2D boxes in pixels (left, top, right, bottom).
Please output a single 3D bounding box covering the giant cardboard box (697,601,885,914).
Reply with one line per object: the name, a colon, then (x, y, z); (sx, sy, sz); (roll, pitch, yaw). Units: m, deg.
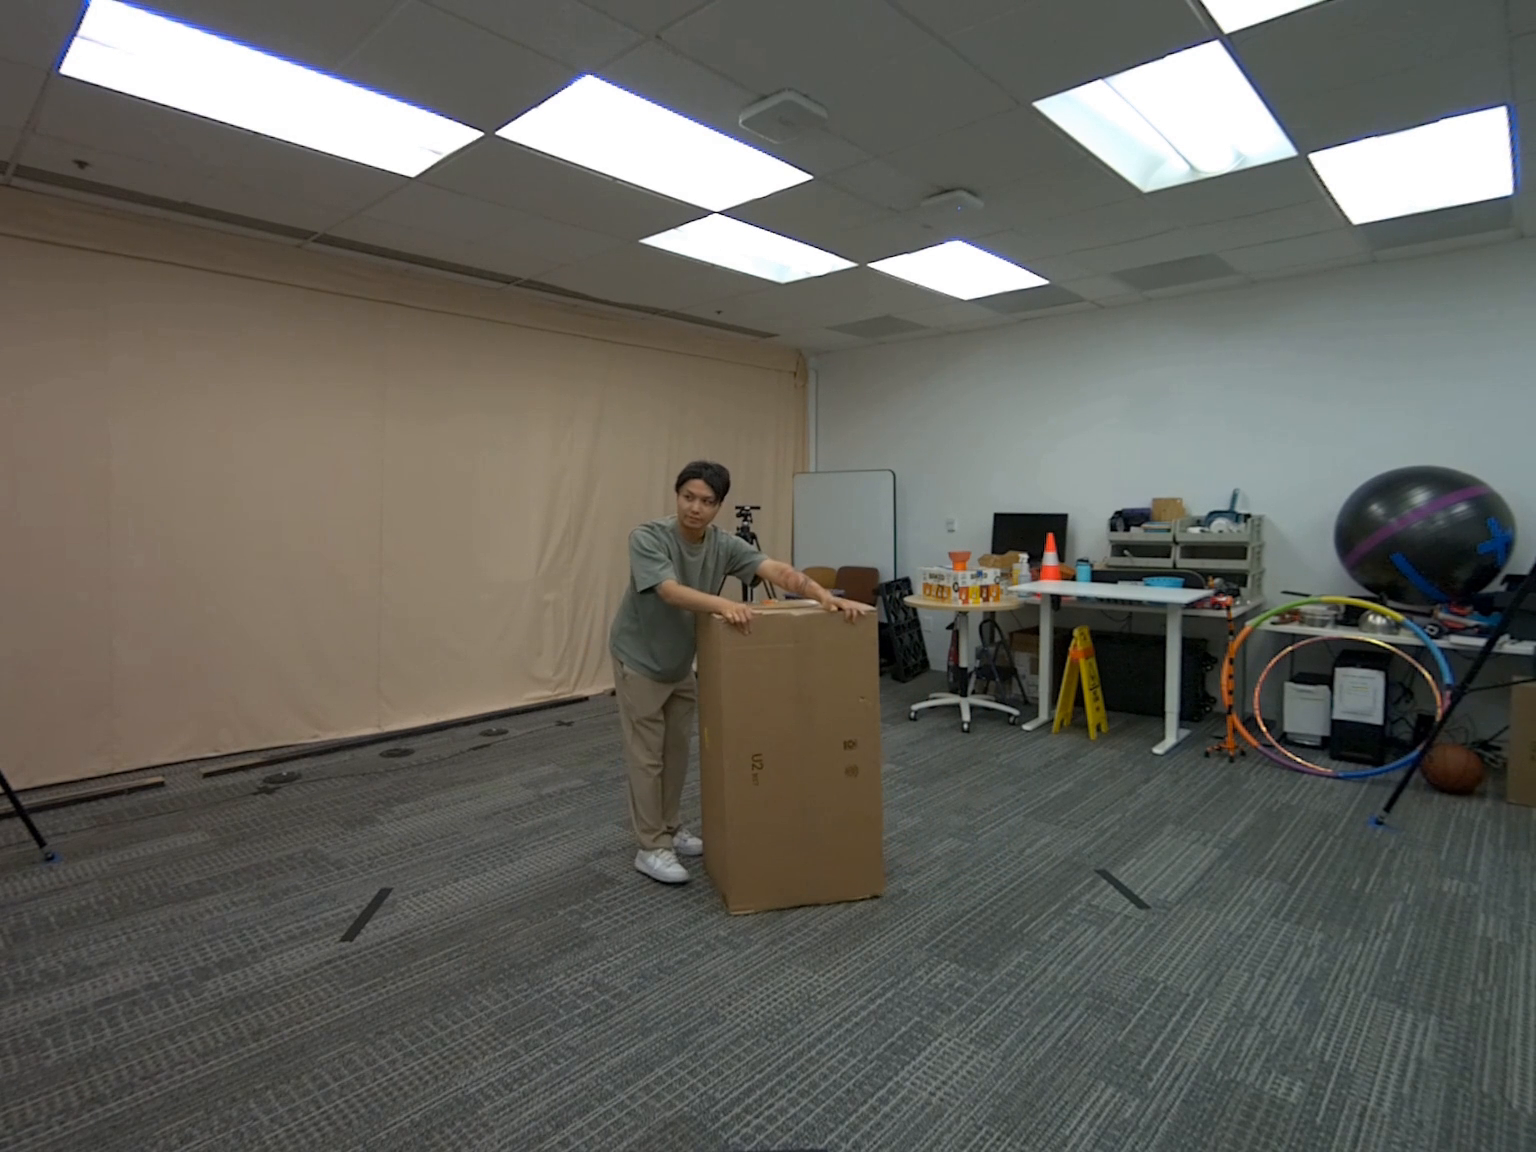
giant cardboard box: (0.073, 0.619, 3.101); (0.569, 1.024, 0.433); (-2, 3, -15)
